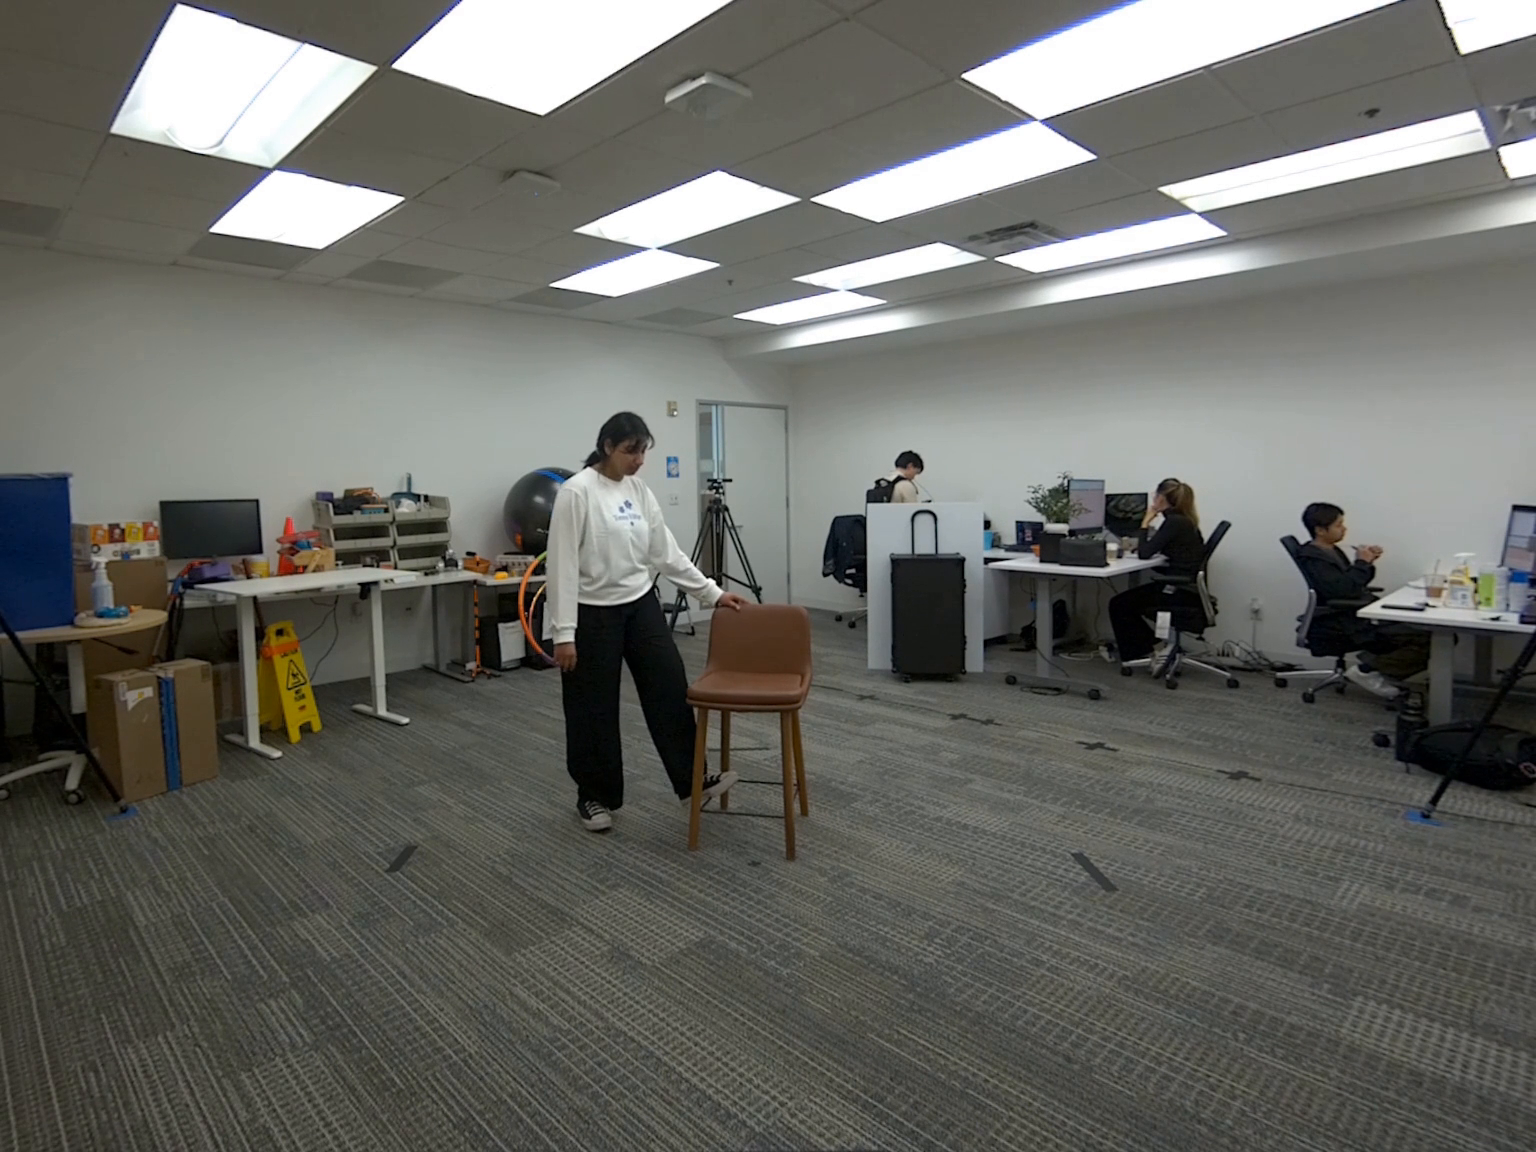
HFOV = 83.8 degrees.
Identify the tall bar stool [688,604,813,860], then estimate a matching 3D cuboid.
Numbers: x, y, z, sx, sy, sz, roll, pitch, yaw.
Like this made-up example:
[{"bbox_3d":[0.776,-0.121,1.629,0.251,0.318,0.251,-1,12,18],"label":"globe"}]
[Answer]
[{"bbox_3d":[-0.064,0.579,3.368,0.463,0.888,0.462,0,2,14],"label":"tall bar stool"}]
